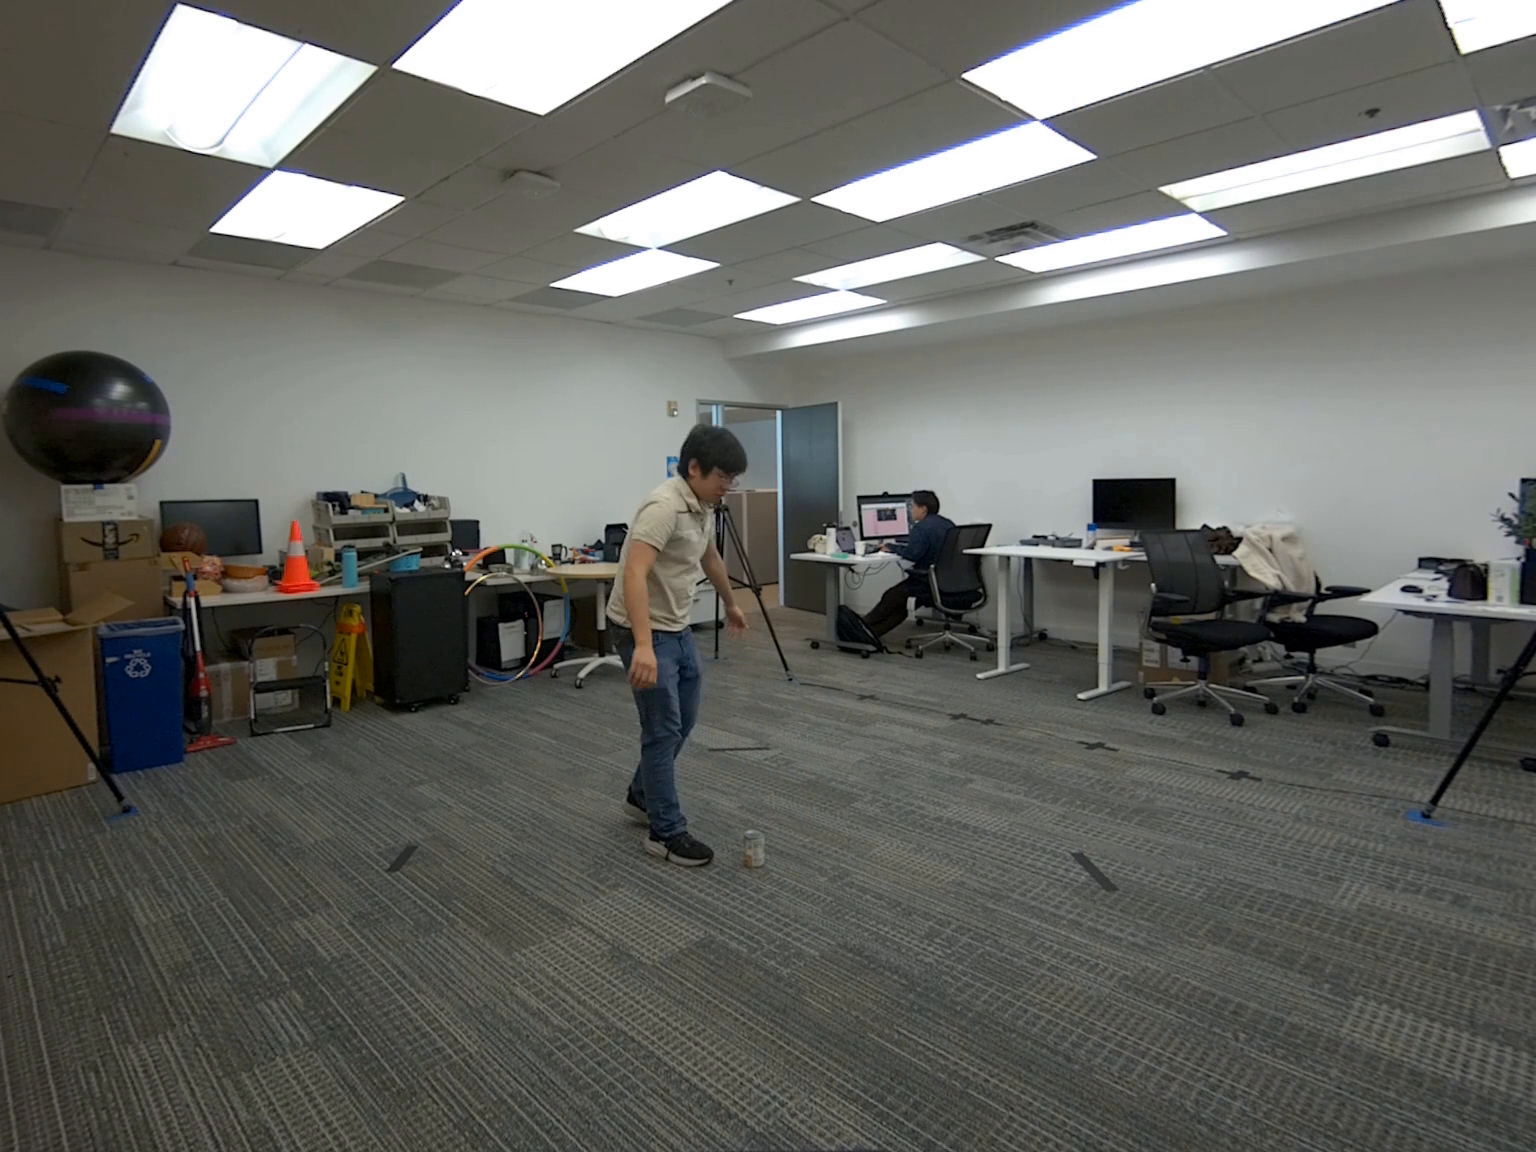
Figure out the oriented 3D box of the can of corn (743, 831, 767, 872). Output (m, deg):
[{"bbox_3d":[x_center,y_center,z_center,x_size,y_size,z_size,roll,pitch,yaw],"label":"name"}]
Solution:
[{"bbox_3d":[-0.050,0.994,3.096,0.074,0.110,0.074,3,5,-2],"label":"can of corn"}]
